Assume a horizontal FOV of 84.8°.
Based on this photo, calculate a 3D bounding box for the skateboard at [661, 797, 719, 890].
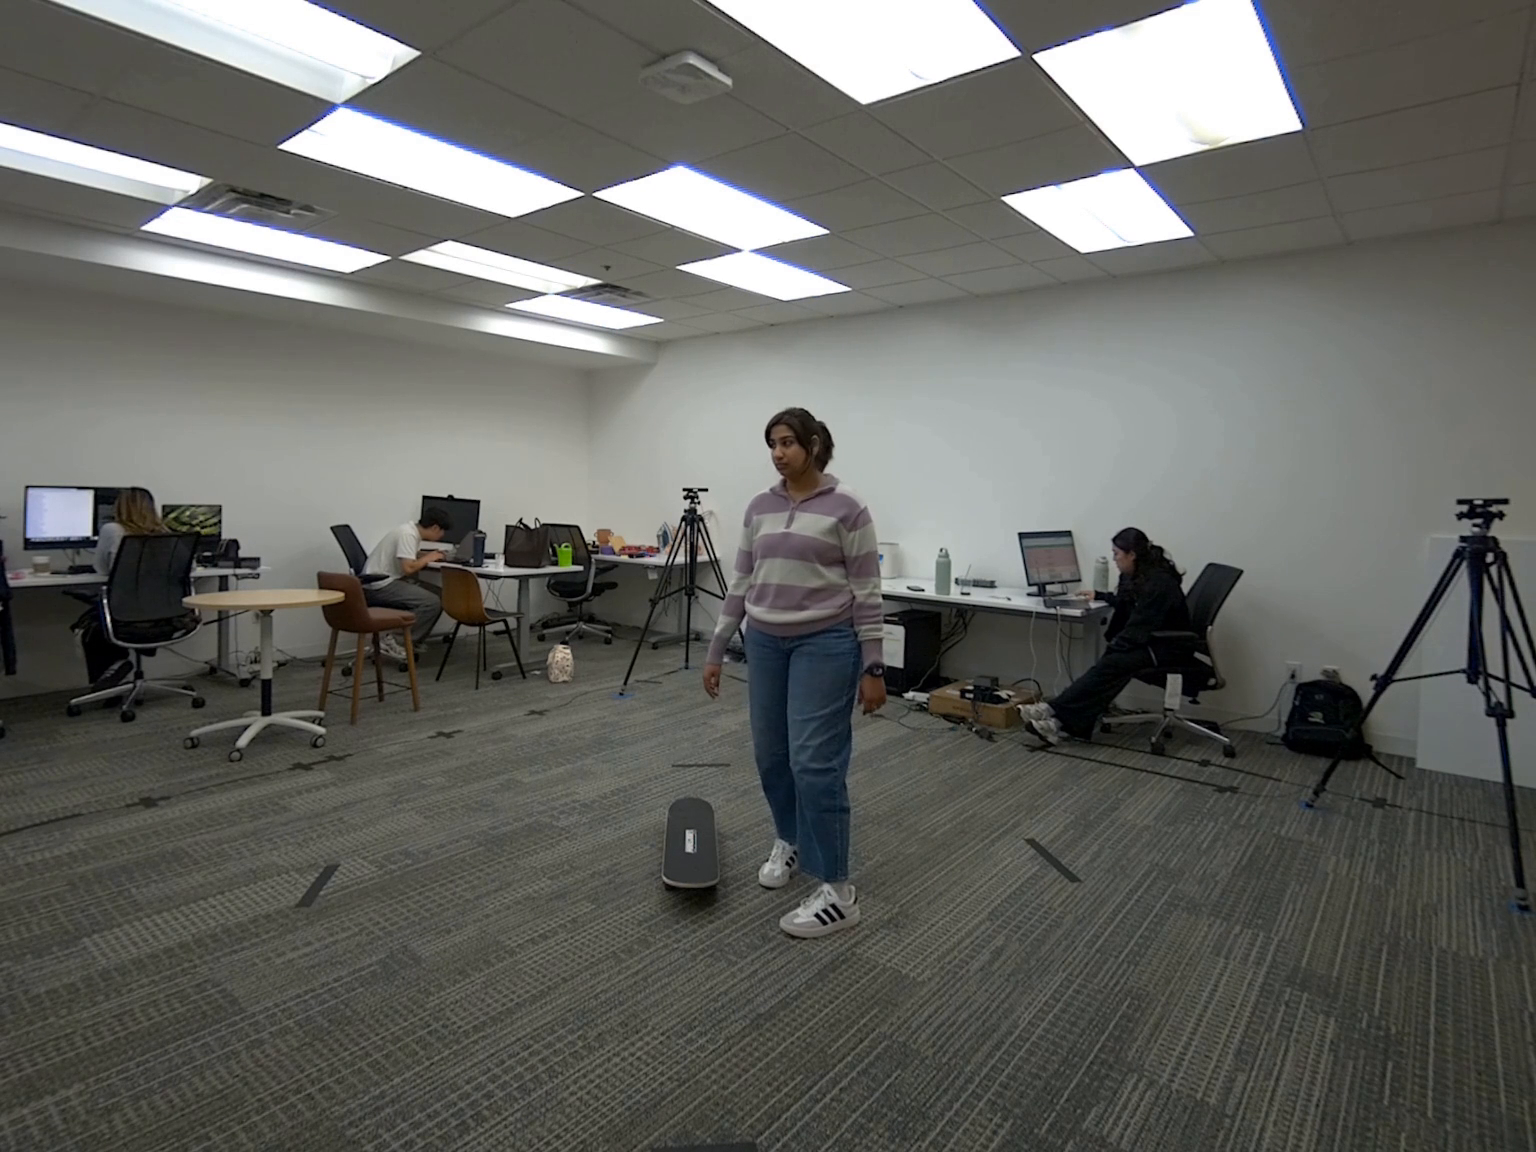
[{"bbox_3d":[-0.295,1.005,3.146,0.193,0.110,0.791,1,5,-4],"label":"skateboard"}]
